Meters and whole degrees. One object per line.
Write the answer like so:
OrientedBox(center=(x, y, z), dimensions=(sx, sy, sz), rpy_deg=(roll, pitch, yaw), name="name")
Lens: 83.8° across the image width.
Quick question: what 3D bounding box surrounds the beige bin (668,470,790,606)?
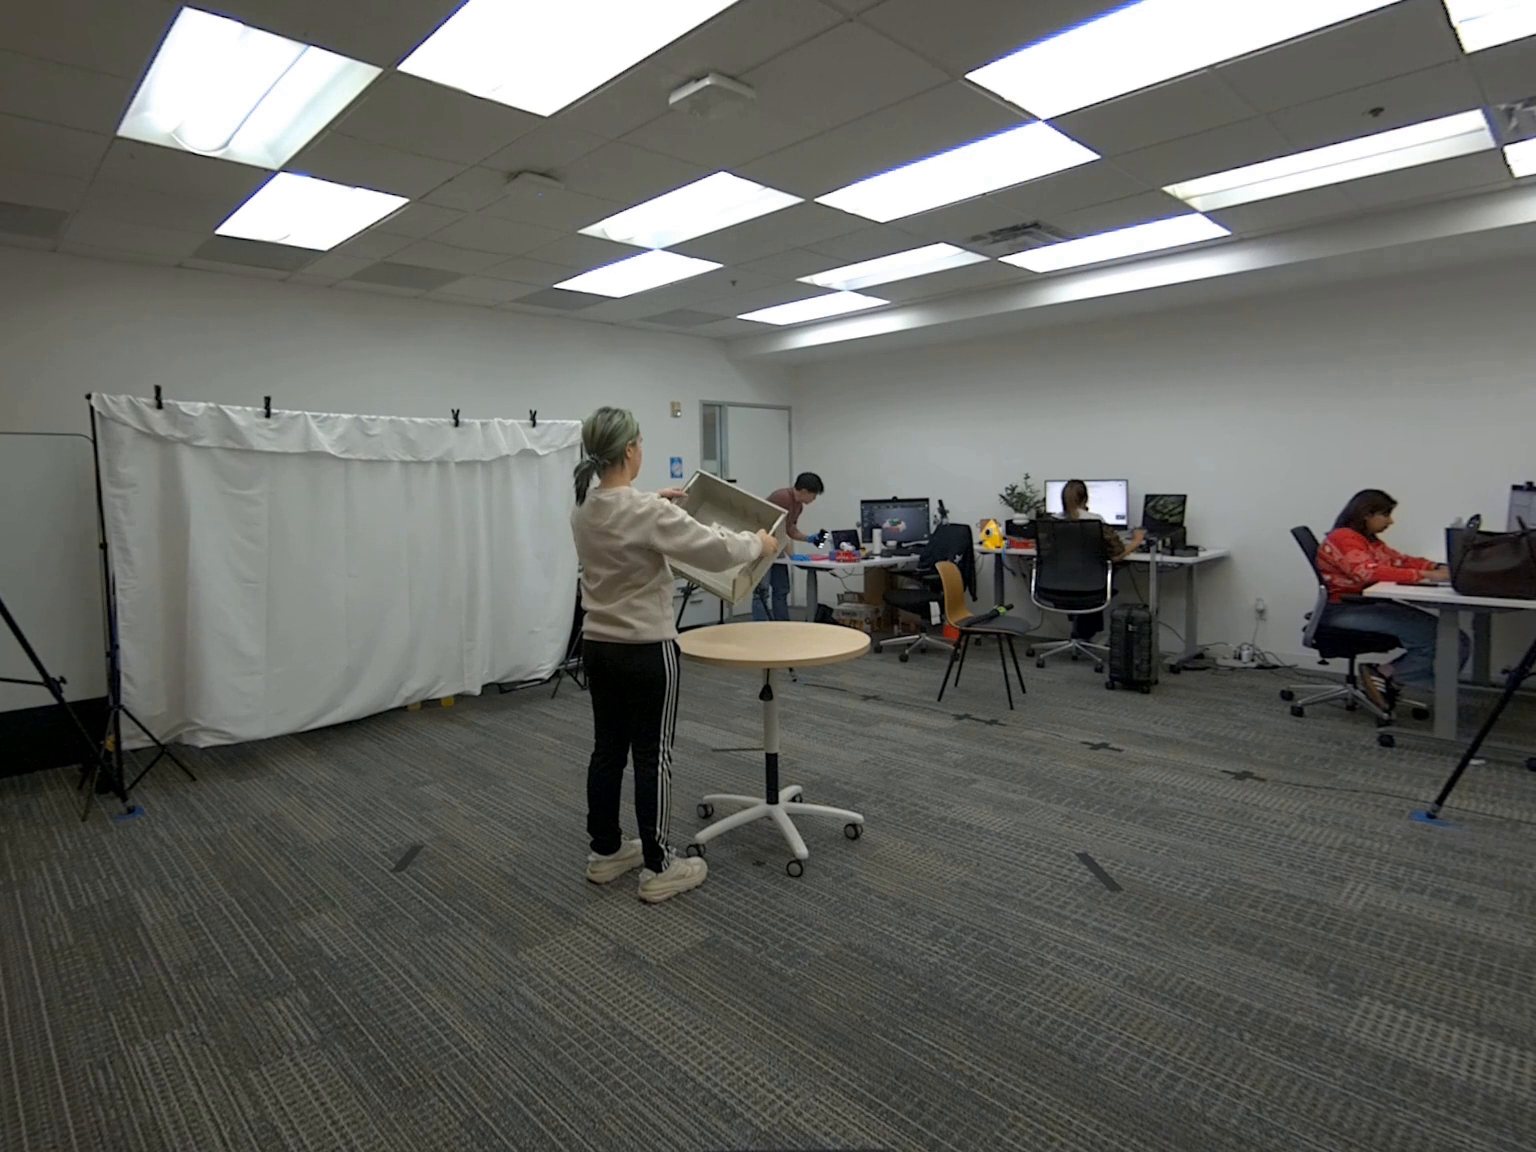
OrientedBox(center=(-0.187, -0.145, 3.248), dimensions=(0.435, 0.378, 0.183), rpy_deg=(26, -26, 24), name="beige bin")
